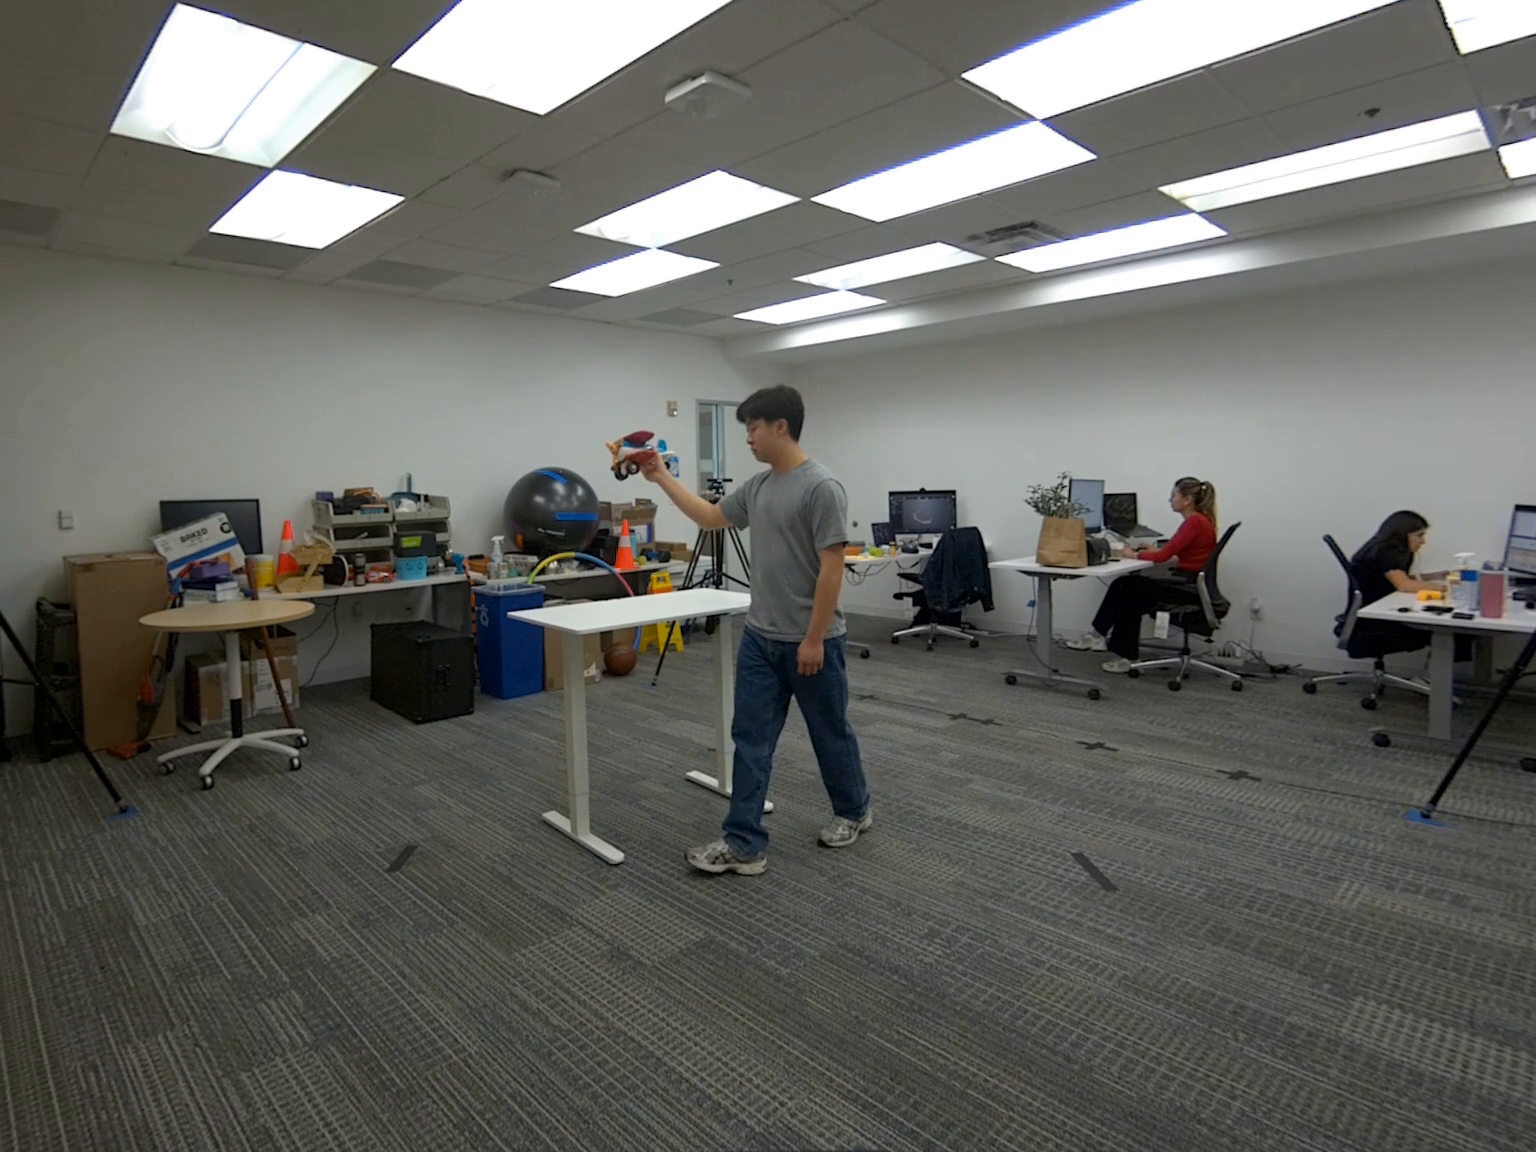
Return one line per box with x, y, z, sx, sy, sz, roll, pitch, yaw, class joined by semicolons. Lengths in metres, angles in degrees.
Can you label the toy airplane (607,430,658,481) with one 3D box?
-0.515;-0.471;3.370;0.254;0.156;0.255;-16;0;20;toy airplane
